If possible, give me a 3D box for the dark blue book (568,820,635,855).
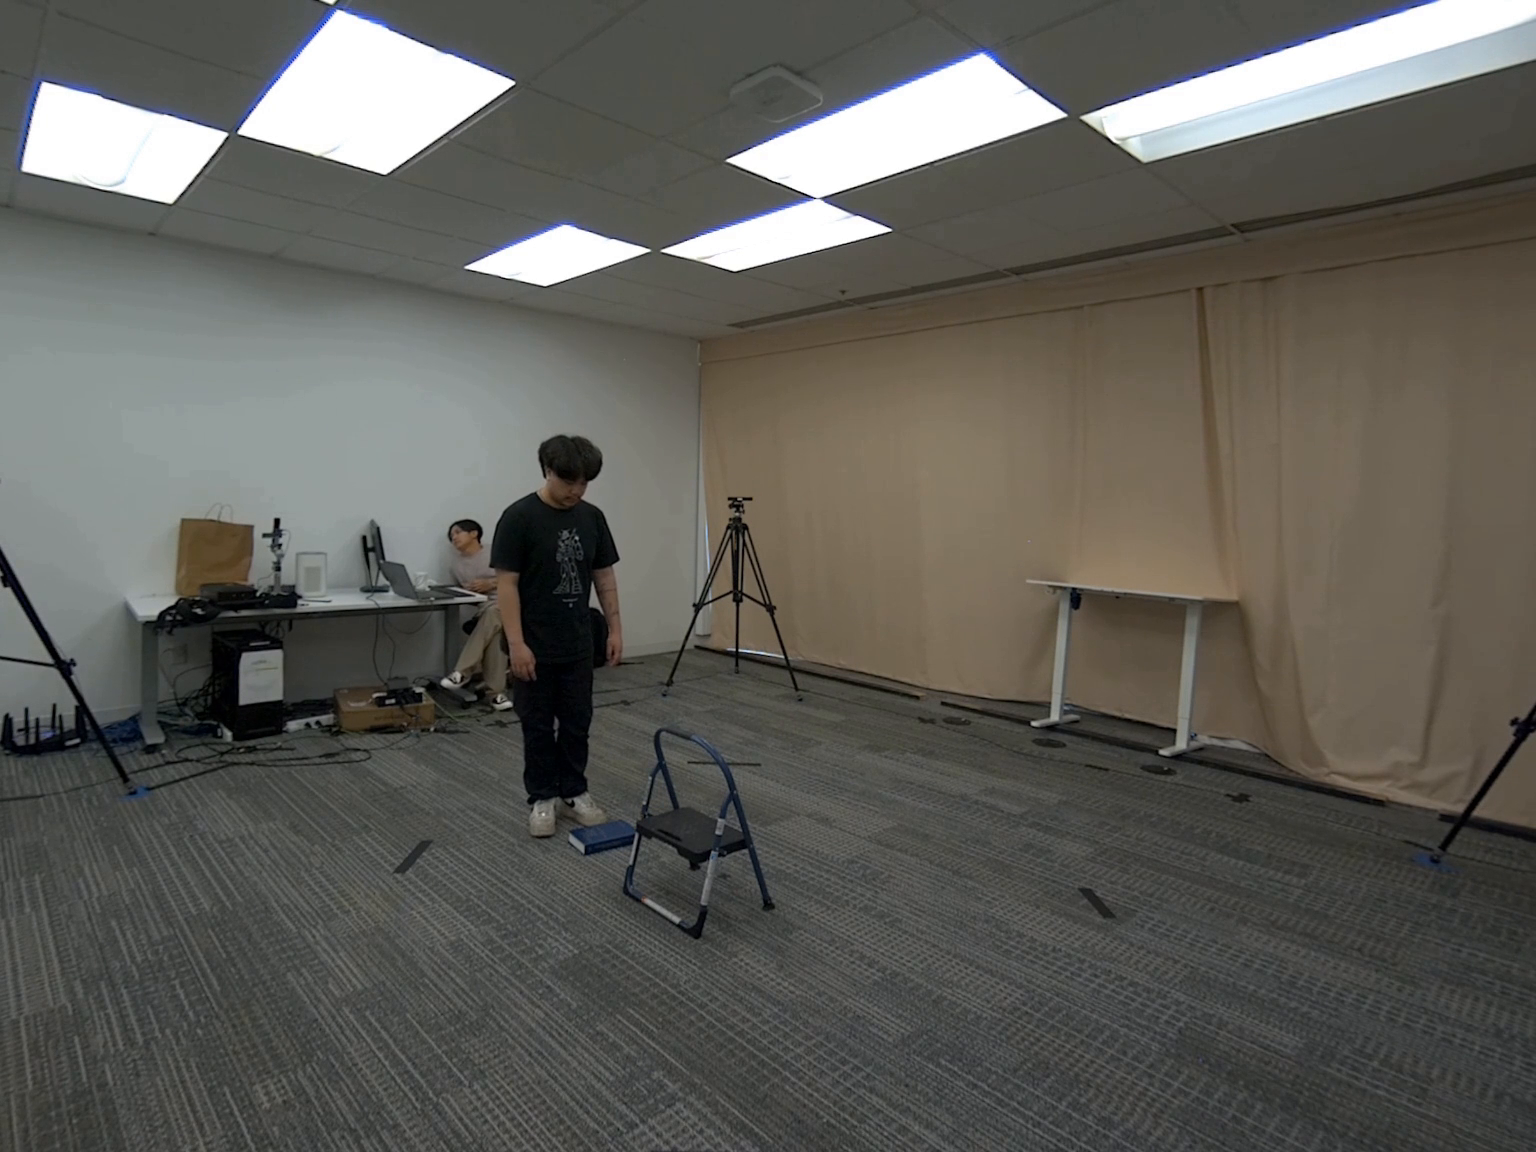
[{"bbox_3d":[-0.670,1.052,3.385,0.240,0.045,0.167,-2,6,-36],"label":"dark blue book"}]
